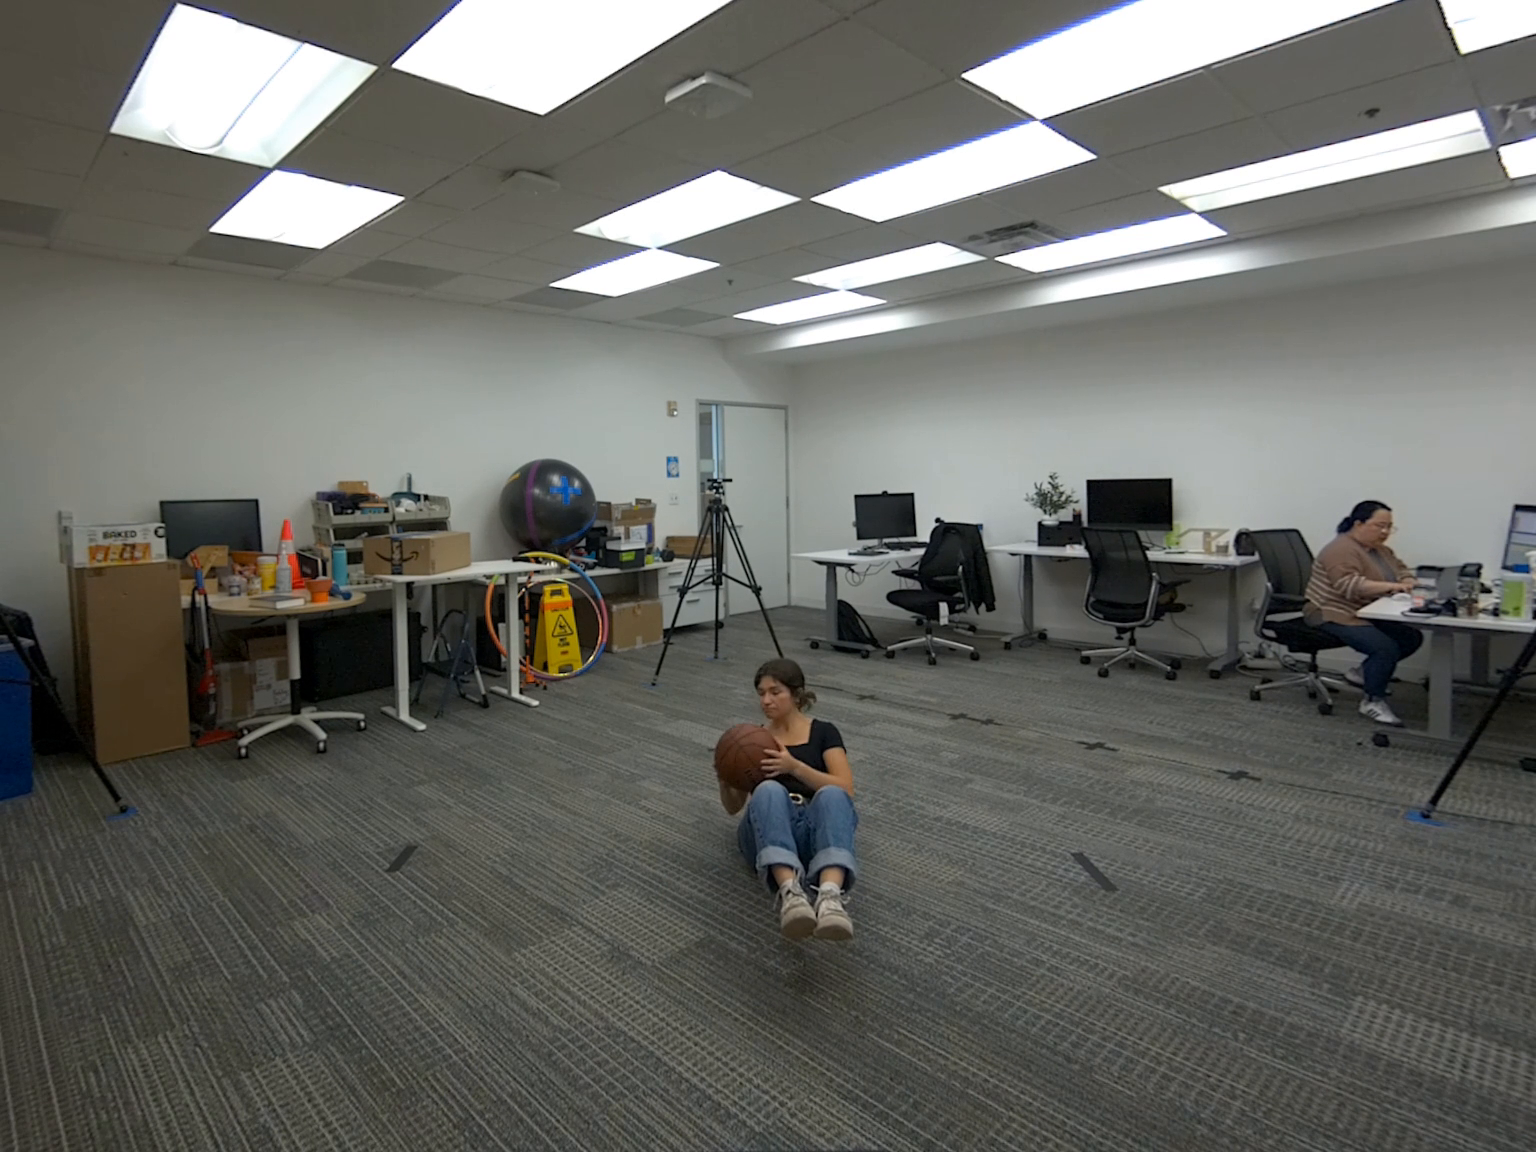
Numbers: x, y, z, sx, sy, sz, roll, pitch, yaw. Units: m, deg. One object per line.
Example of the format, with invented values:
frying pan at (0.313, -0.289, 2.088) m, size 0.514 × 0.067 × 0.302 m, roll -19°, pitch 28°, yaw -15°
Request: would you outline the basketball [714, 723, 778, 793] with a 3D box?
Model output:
basketball at (-0.070, 0.663, 3.083) m, size 0.236 × 0.235 × 0.237 m, roll -1°, pitch 5°, yaw -2°
